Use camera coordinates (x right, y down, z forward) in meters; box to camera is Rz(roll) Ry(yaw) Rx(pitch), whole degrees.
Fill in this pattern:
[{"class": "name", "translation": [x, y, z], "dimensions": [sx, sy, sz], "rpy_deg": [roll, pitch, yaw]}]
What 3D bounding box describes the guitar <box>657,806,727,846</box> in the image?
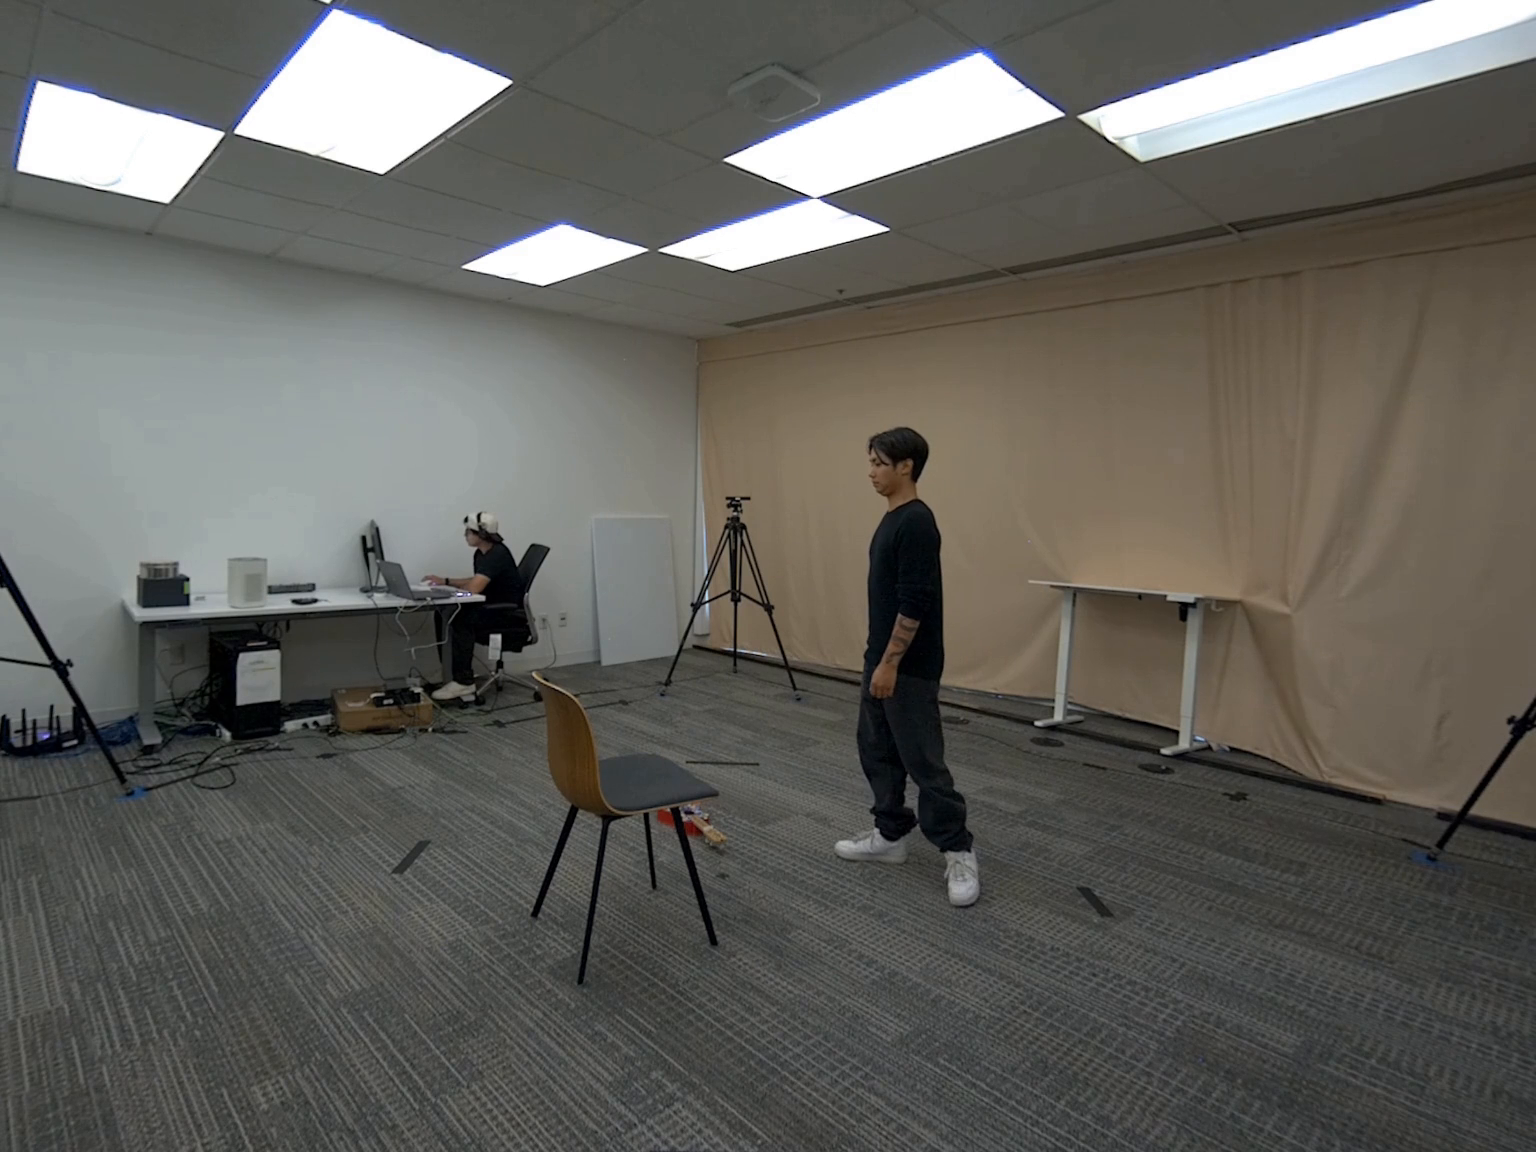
[{"class": "guitar", "translation": [-0.335, 1.036, 3.495], "dimensions": [0.190, 0.070, 0.506], "rpy_deg": [0, 5, -19]}]
